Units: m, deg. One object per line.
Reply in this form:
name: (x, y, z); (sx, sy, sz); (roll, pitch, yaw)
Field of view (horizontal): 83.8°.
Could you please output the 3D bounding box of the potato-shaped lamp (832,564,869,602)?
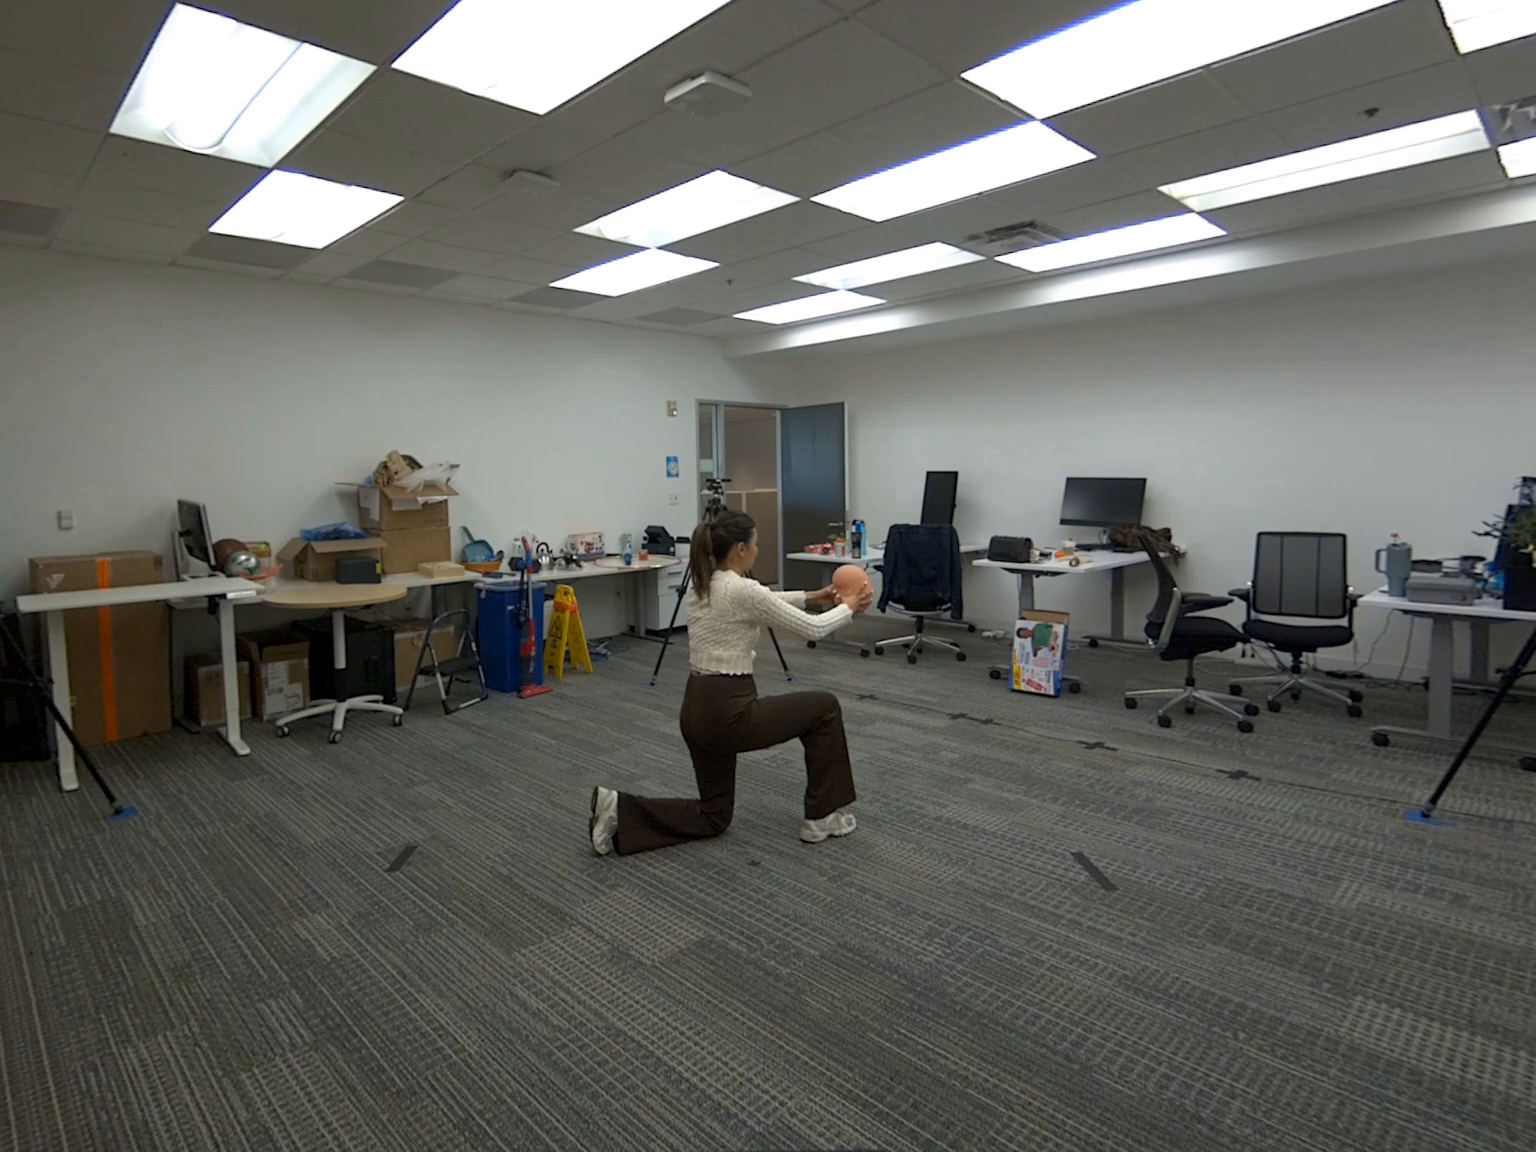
potato-shaped lamp: (0.356, 0.054, 3.594); (0.170, 0.195, 0.168); (-31, 15, -13)
